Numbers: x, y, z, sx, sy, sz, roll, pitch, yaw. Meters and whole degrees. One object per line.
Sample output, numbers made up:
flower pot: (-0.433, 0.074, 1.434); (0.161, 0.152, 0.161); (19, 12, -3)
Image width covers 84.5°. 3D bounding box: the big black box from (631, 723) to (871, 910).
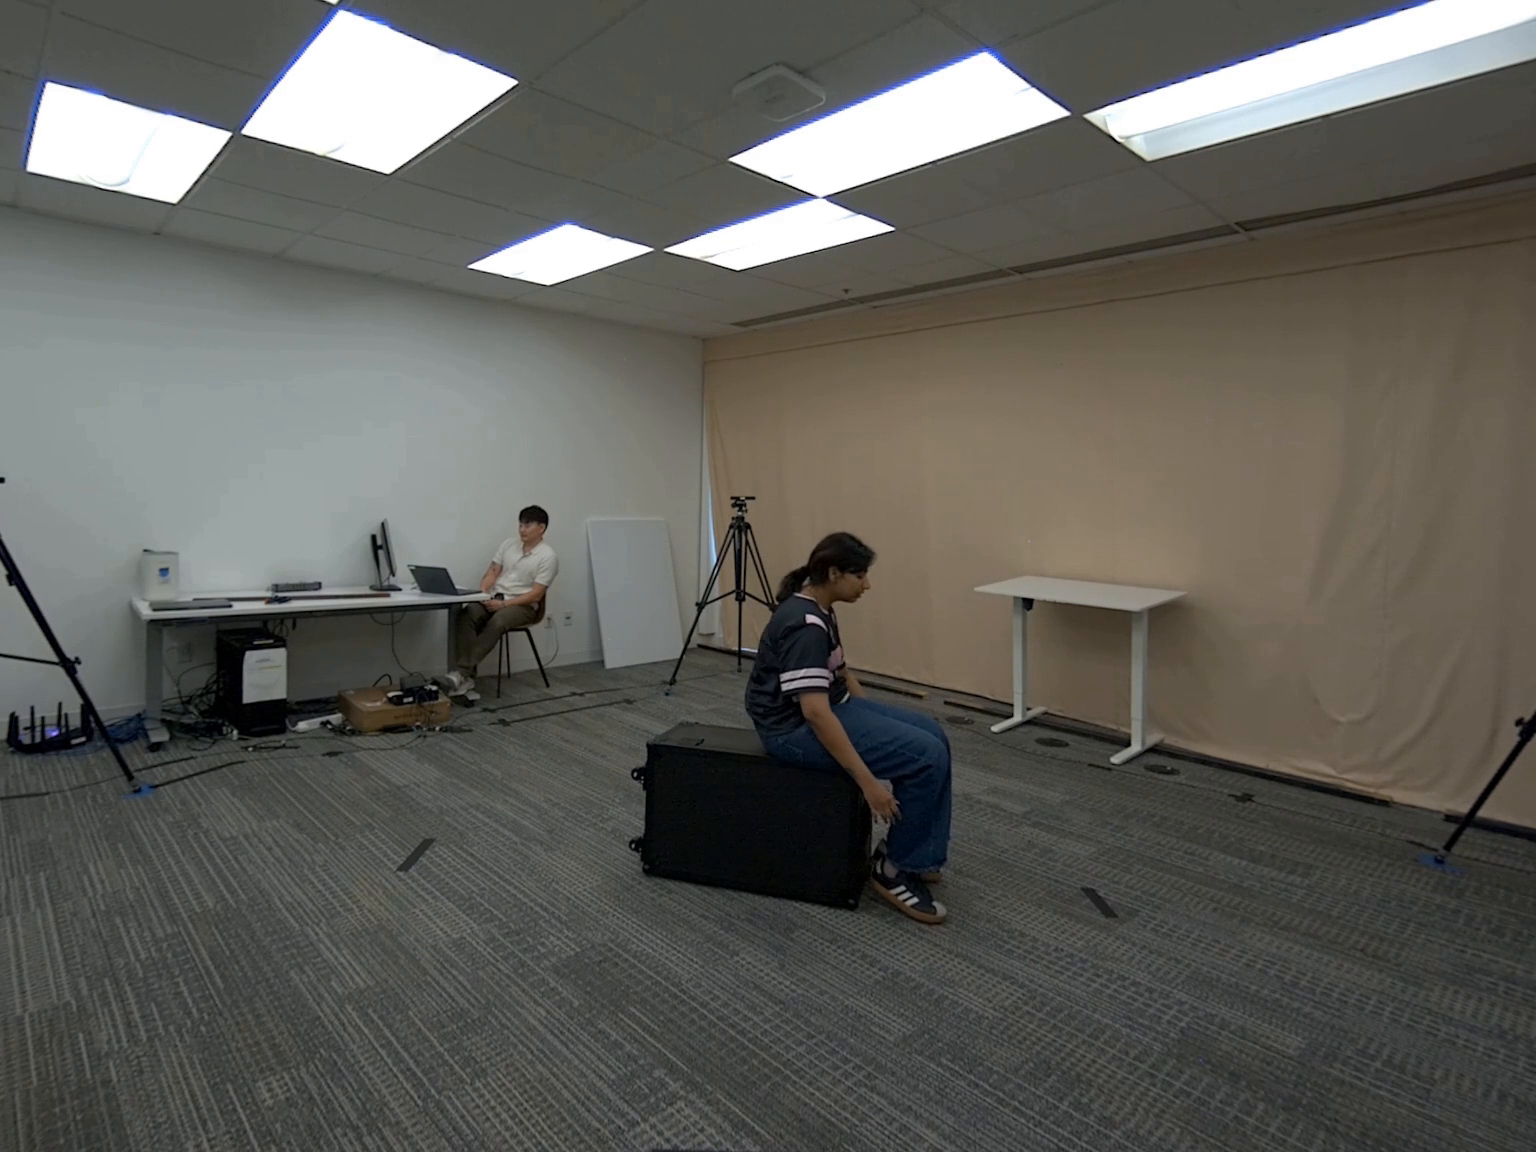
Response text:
big black box: (-0.068, 0.844, 3.130); (0.881, 0.522, 0.381); (3, 5, 18)
